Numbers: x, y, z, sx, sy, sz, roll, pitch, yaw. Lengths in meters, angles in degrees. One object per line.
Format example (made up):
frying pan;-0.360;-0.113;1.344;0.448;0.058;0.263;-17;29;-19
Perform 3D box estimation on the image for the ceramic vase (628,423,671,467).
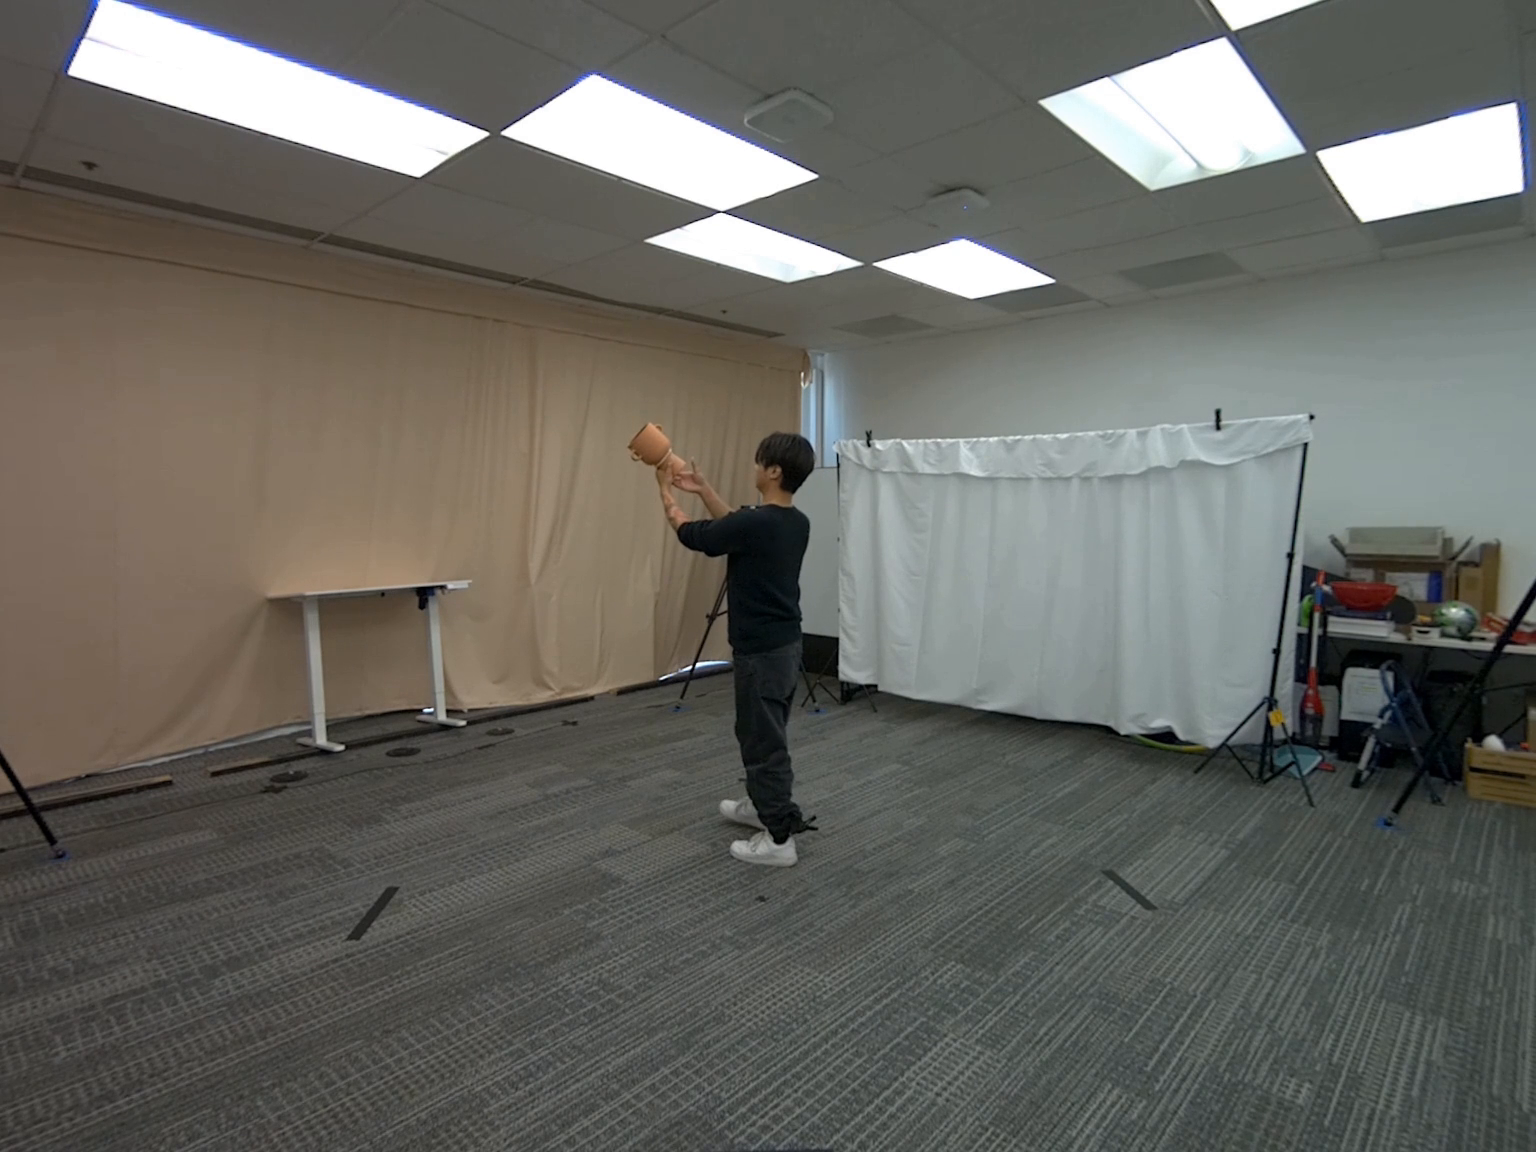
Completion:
ceramic vase;-0.439;-0.491;3.388;0.216;0.159;0.136;42;11;-14
